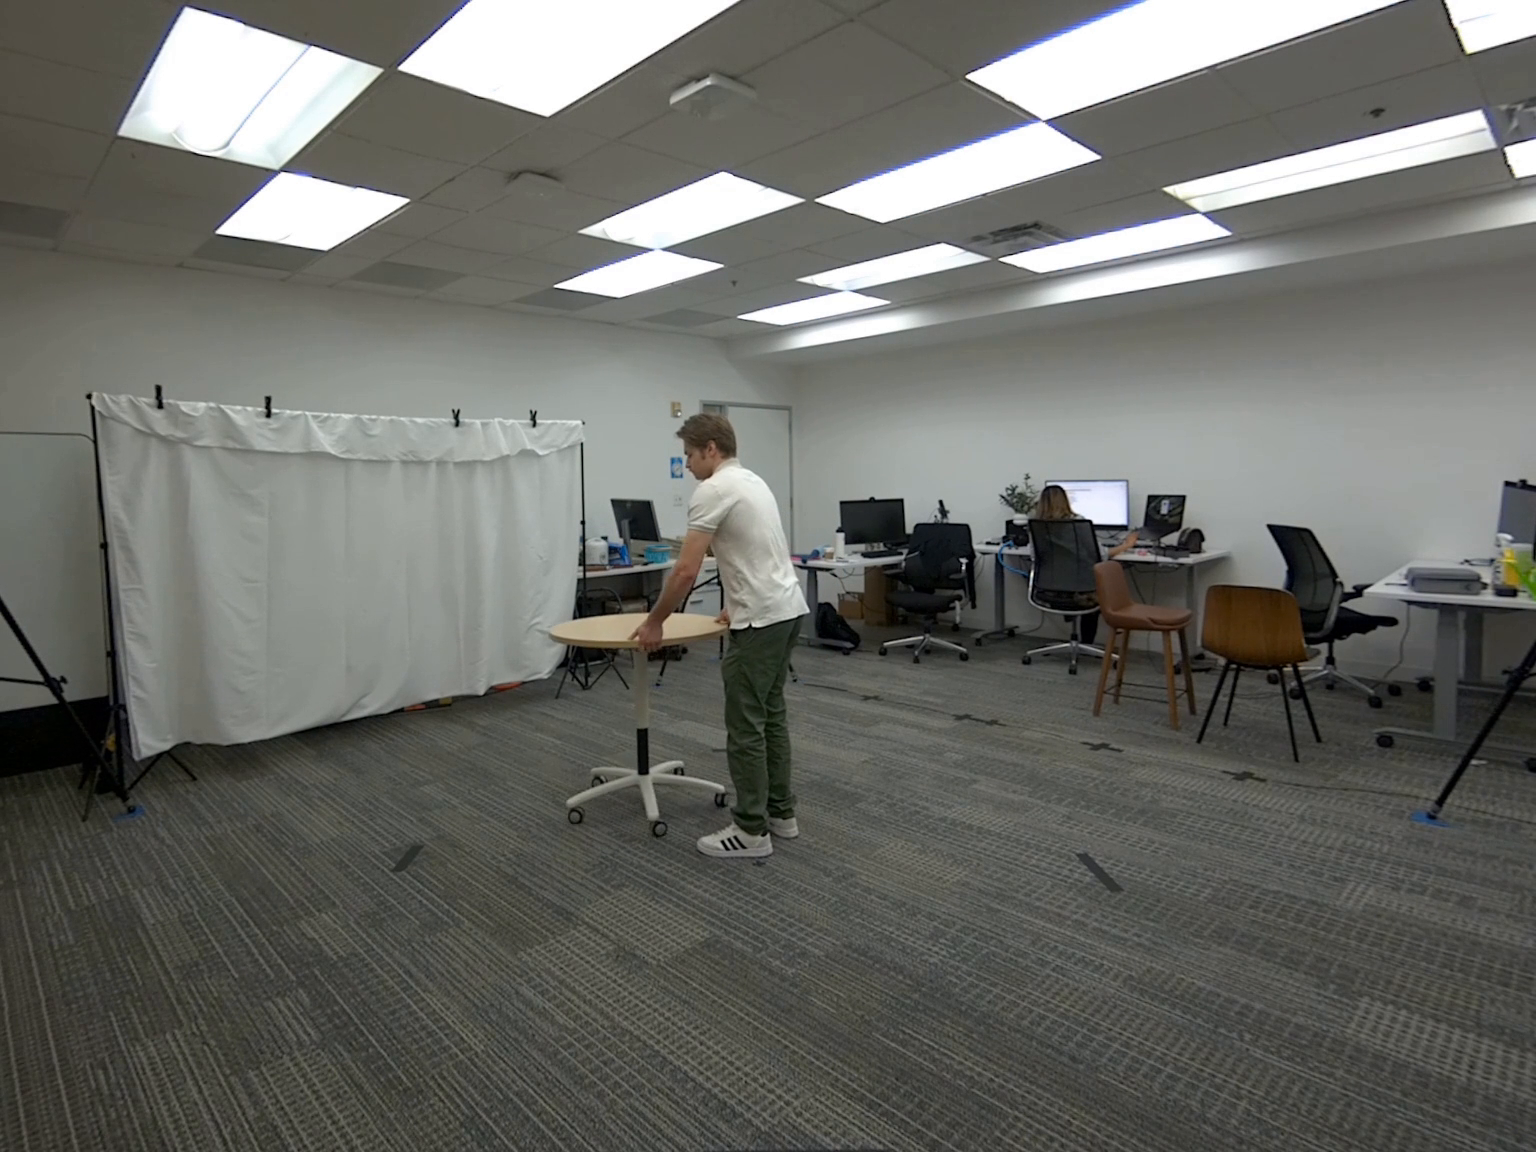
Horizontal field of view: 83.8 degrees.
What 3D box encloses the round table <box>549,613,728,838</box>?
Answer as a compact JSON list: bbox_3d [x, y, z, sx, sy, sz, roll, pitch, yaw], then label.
[{"bbox_3d":[-0.543,0.605,3.680,0.763,0.791,0.767,-1,4,-2],"label":"round table"}]
